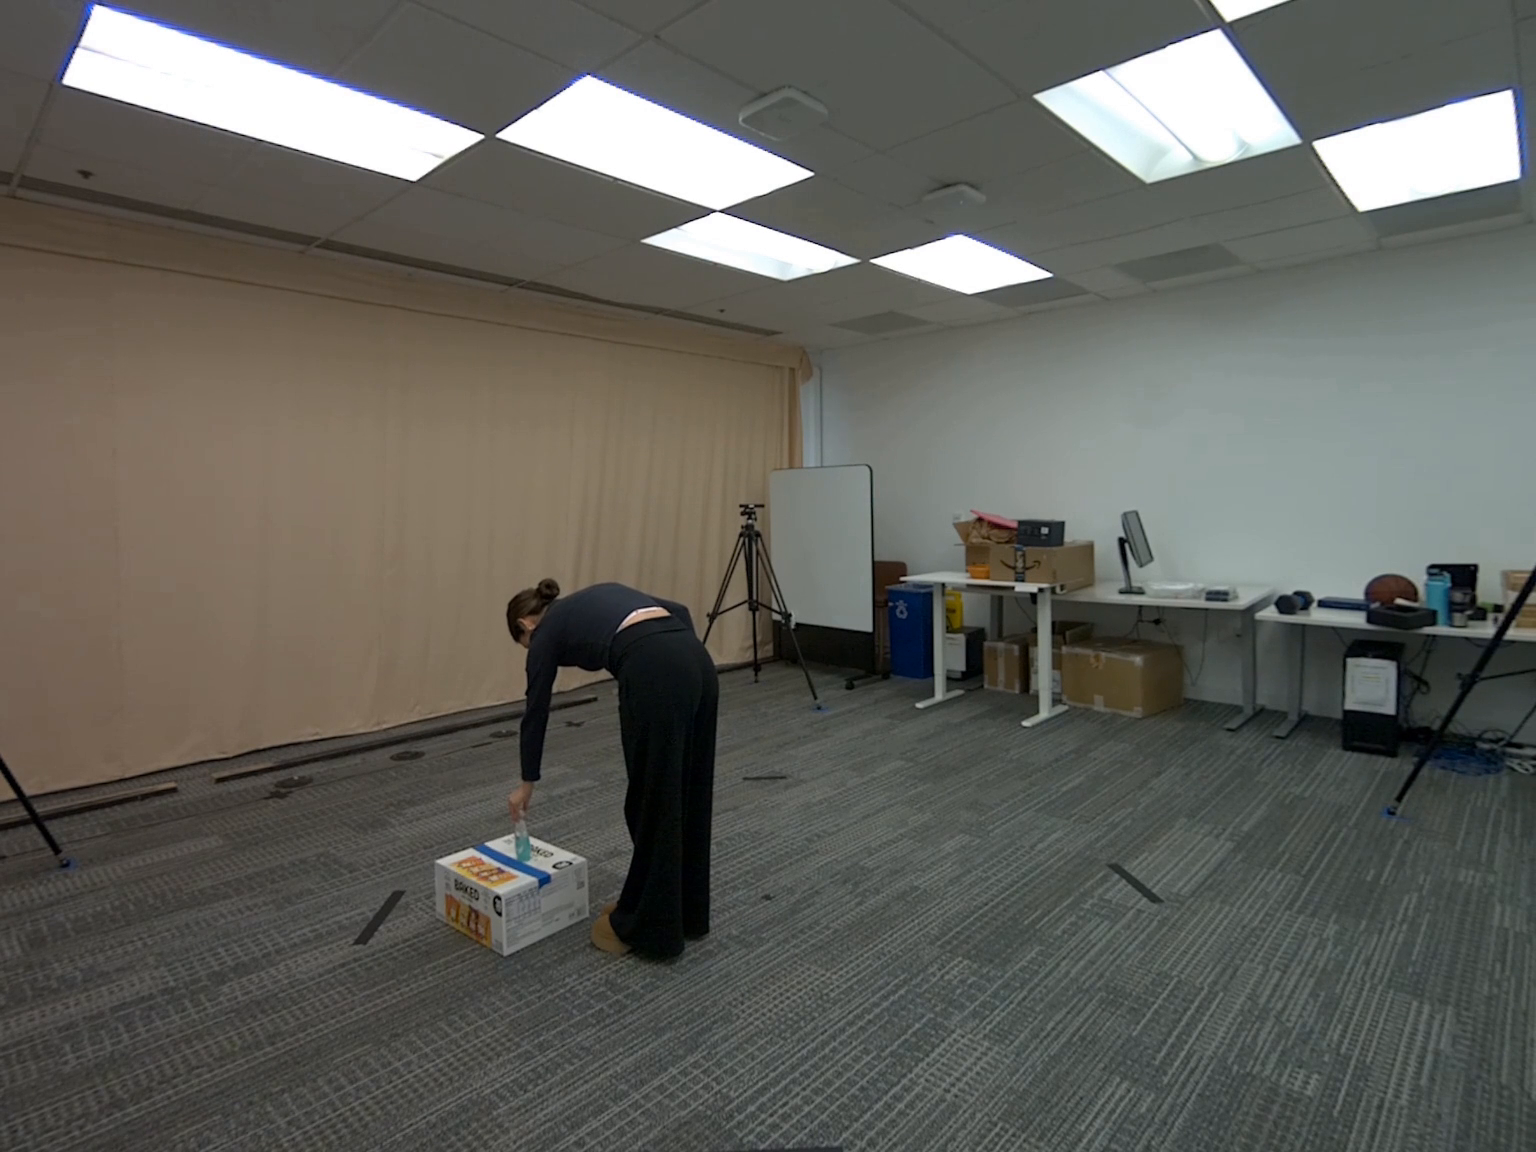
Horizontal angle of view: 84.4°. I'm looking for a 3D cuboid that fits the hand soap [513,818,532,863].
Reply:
[{"bbox_3d":[-0.840,0.887,2.892,0.042,0.168,0.087,-5,1,-40],"label":"hand soap"}]
